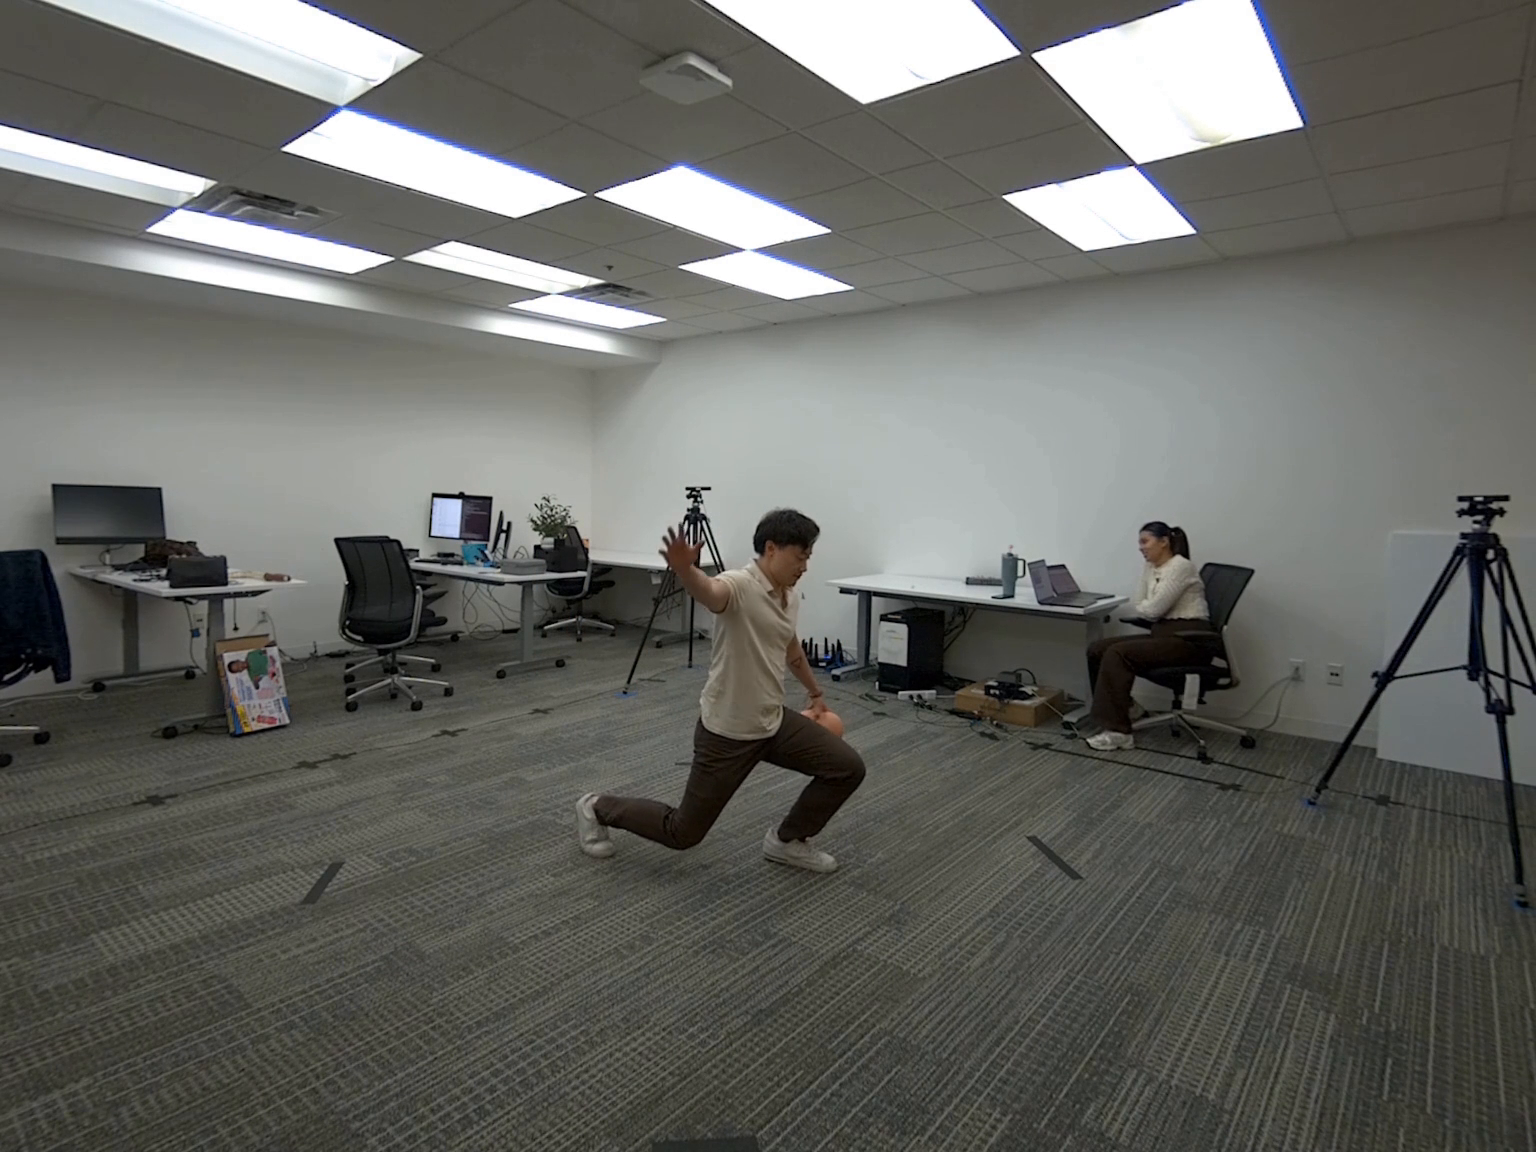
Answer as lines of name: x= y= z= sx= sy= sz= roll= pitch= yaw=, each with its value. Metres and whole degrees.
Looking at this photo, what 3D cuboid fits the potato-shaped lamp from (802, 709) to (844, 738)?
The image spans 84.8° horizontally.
potato-shaped lamp: x=0.202 y=0.619 z=3.489 sx=0.200 sy=0.176 sz=0.159 roll=-16 pitch=-24 yaw=14
